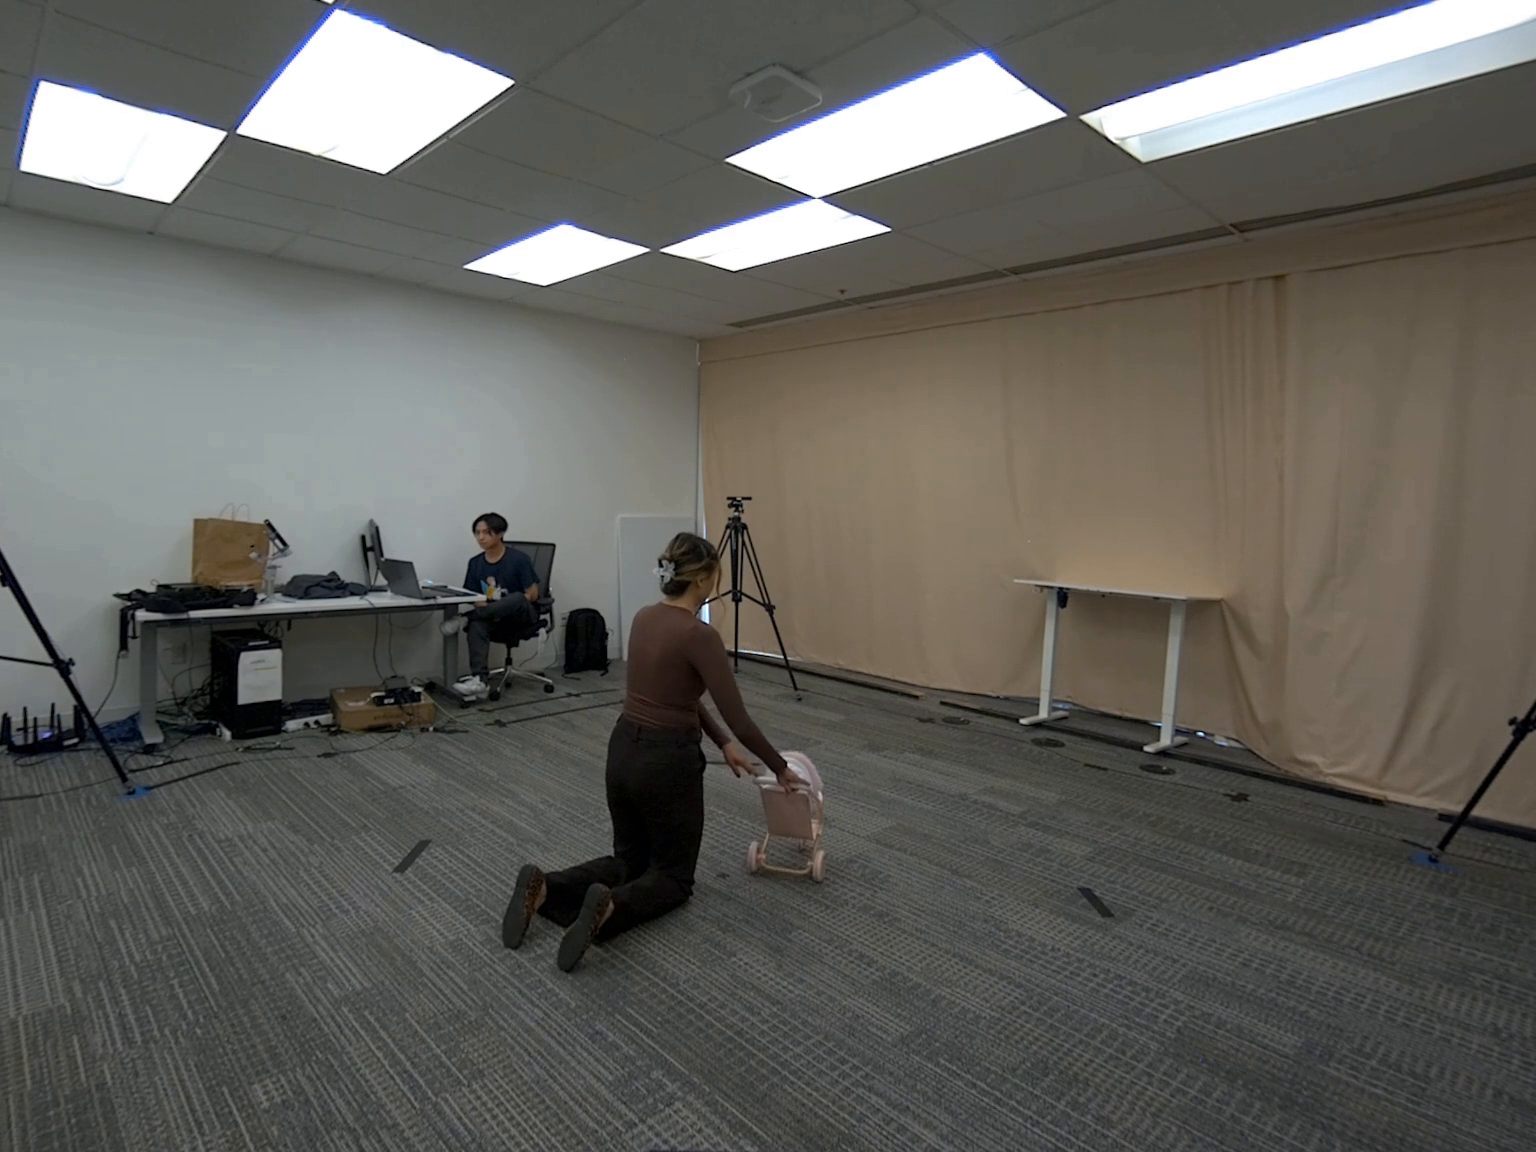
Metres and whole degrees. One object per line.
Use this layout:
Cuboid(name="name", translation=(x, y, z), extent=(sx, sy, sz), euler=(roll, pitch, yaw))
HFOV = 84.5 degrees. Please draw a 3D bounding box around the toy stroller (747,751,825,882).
Cuboid(name="toy stroller", translation=(0.084, 0.884, 3.157), extent=(0.286, 0.527, 0.341), euler=(4, 21, 19))
